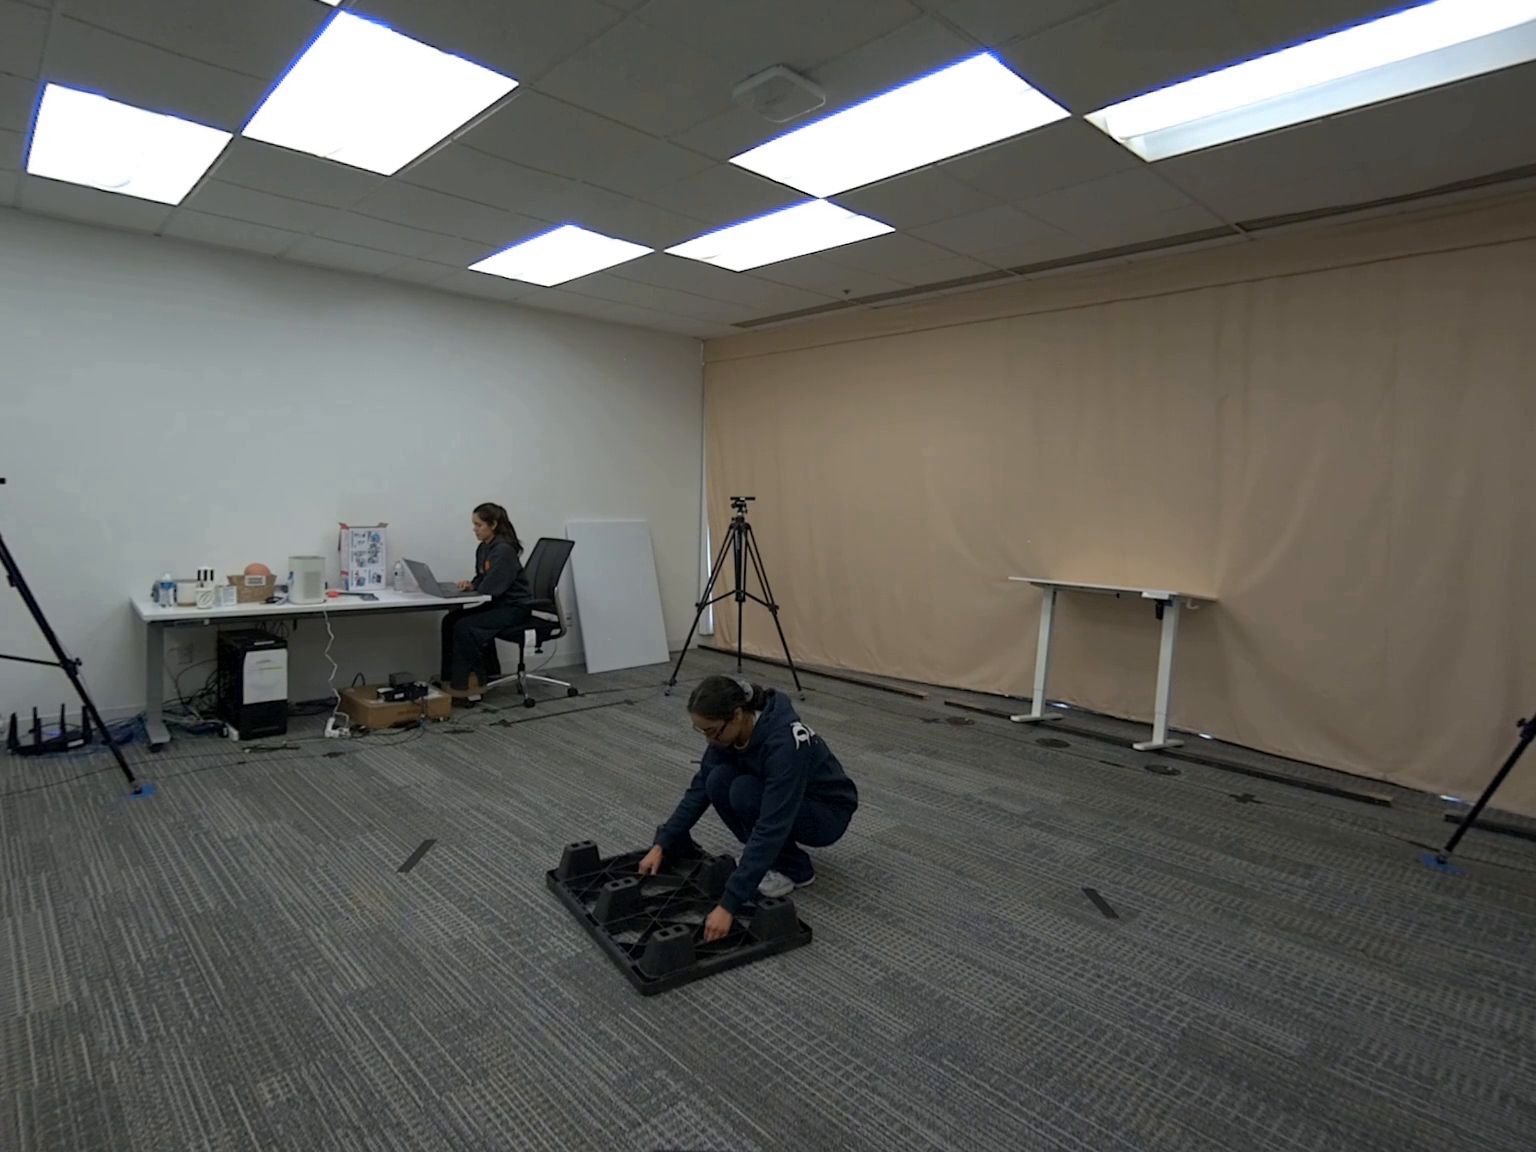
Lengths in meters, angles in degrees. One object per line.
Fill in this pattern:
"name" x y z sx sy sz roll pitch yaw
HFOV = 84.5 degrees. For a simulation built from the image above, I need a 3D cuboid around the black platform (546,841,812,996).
"black platform" -0.323 1.049 2.817 0.592 0.143 0.826 -3 8 -35
